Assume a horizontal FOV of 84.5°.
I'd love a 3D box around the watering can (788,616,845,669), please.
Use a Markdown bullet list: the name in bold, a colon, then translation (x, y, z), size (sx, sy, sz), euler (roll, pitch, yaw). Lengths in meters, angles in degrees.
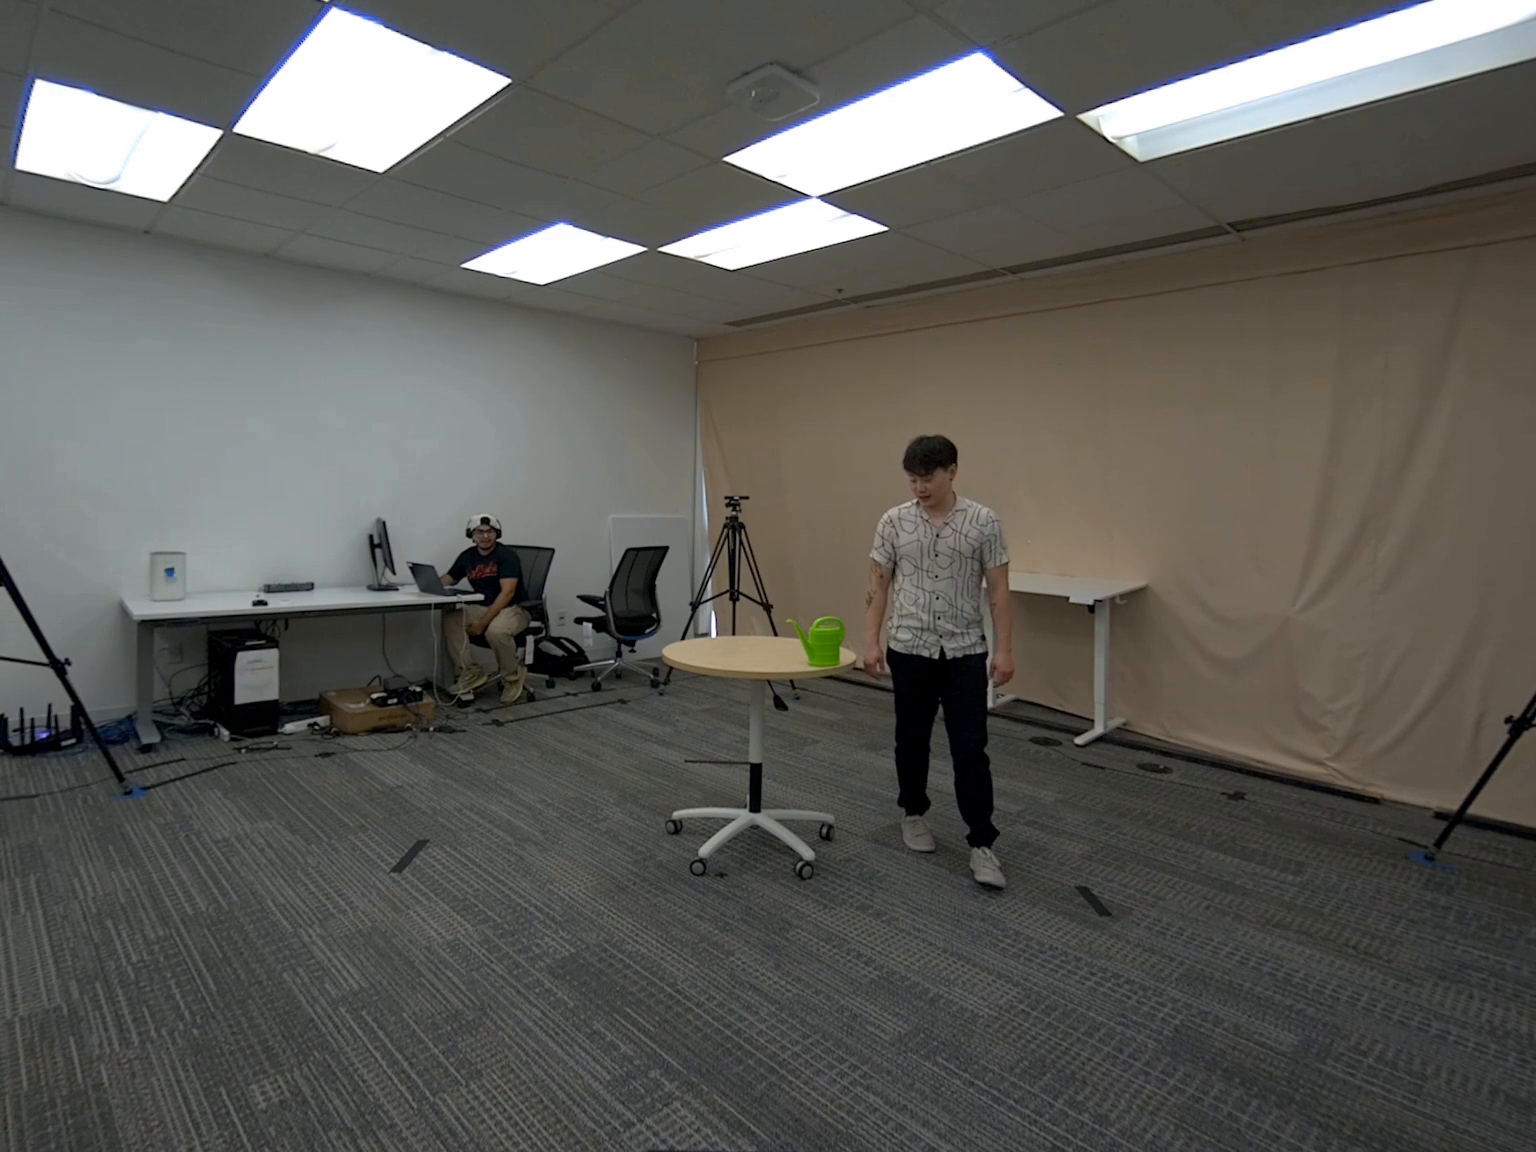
- **watering can**: translation (0.160, 0.241, 3.102), size (0.273, 0.177, 0.100), euler (1, 1, -26)
